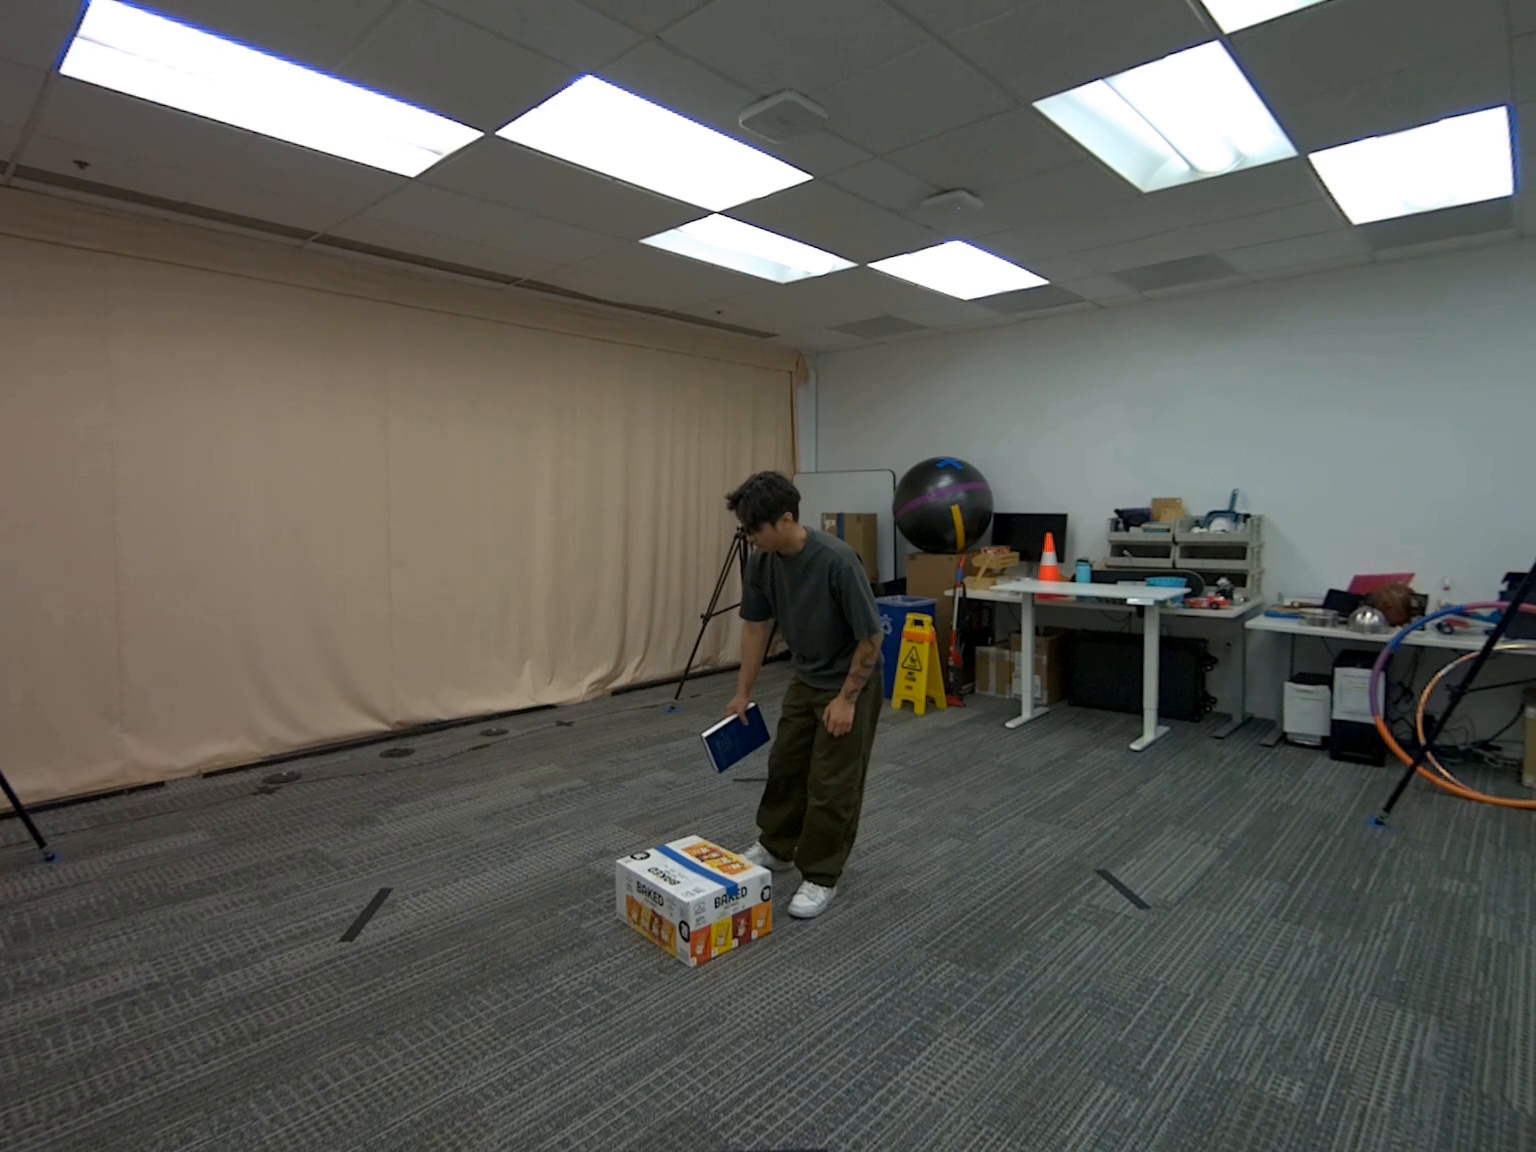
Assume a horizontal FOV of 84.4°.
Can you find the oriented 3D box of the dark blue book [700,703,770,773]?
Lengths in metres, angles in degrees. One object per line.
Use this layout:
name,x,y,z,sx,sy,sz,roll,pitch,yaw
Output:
dark blue book,-0.114,0.604,3.138,0.241,0.161,0.046,-27,18,-24
